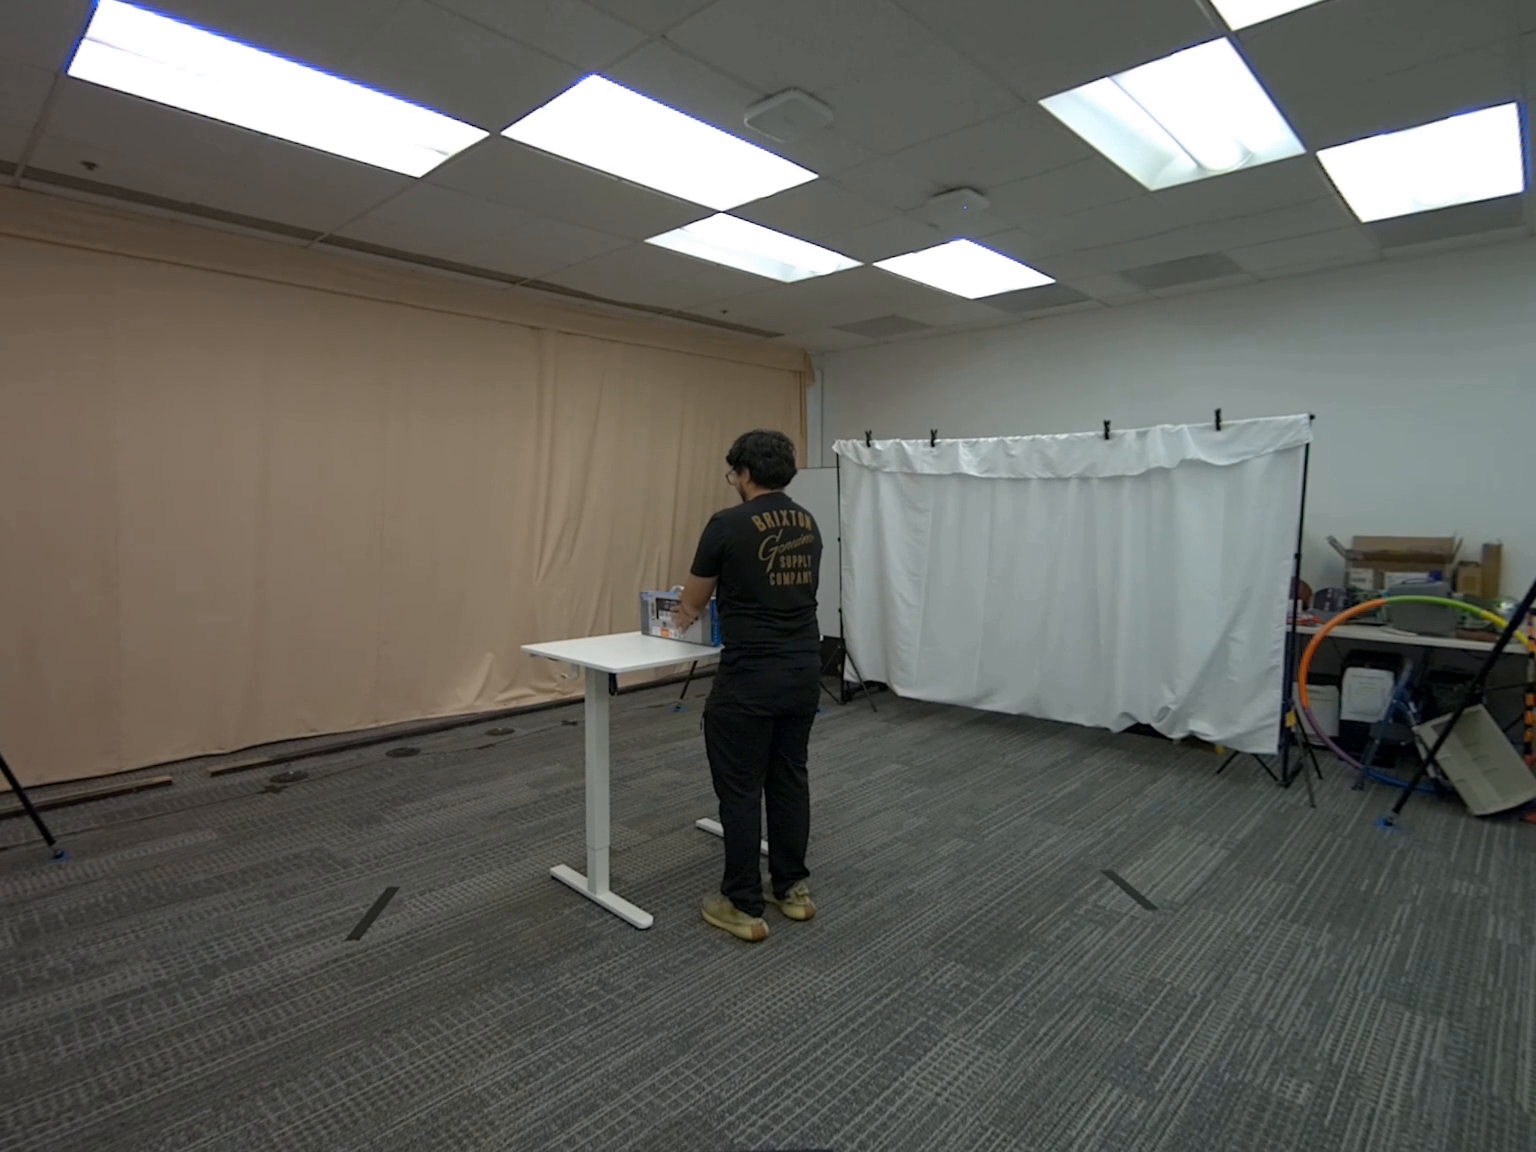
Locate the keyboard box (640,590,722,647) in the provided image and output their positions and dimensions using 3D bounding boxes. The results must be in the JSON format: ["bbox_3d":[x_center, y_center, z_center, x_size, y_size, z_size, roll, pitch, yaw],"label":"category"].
[{"bbox_3d":[-0.336,0.159,3.209,0.057,0.175,0.451,-4,6,-42],"label":"keyboard box"}]
